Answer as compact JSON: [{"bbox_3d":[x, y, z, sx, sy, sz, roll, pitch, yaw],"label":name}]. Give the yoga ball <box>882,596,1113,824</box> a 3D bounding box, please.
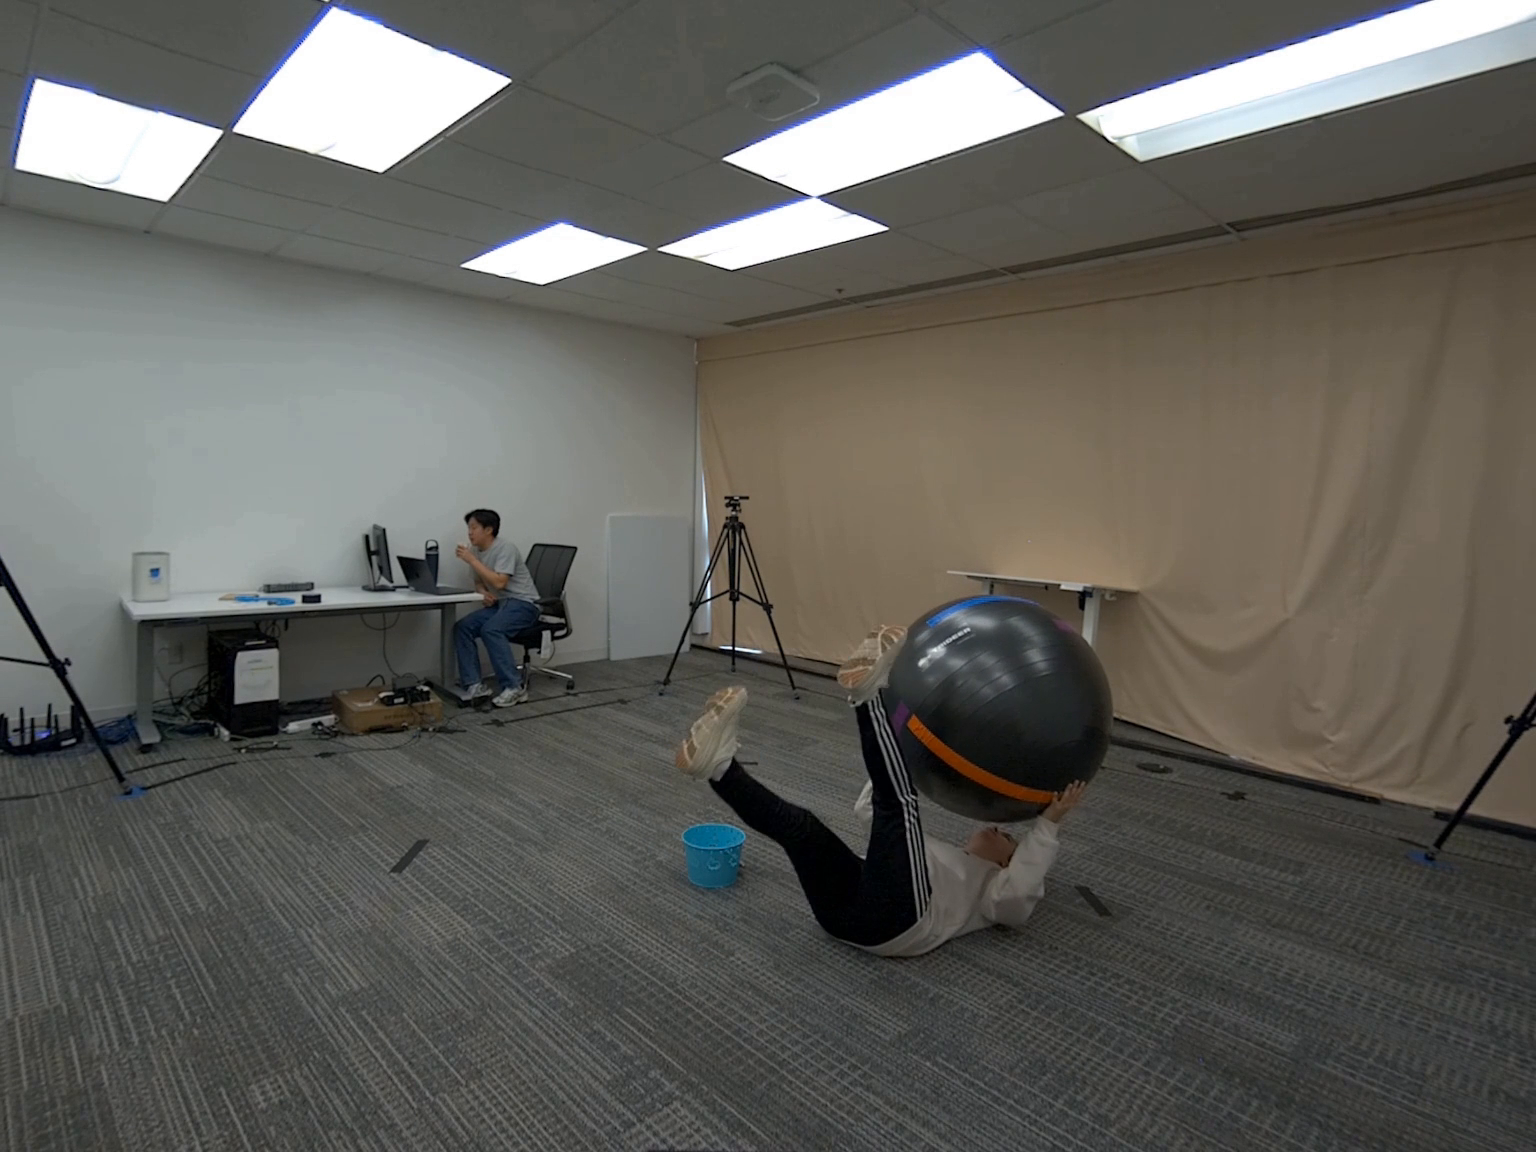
[{"bbox_3d":[0.758,0.442,2.873,0.757,0.756,0.761,1,4,-1],"label":"yoga ball"}]
